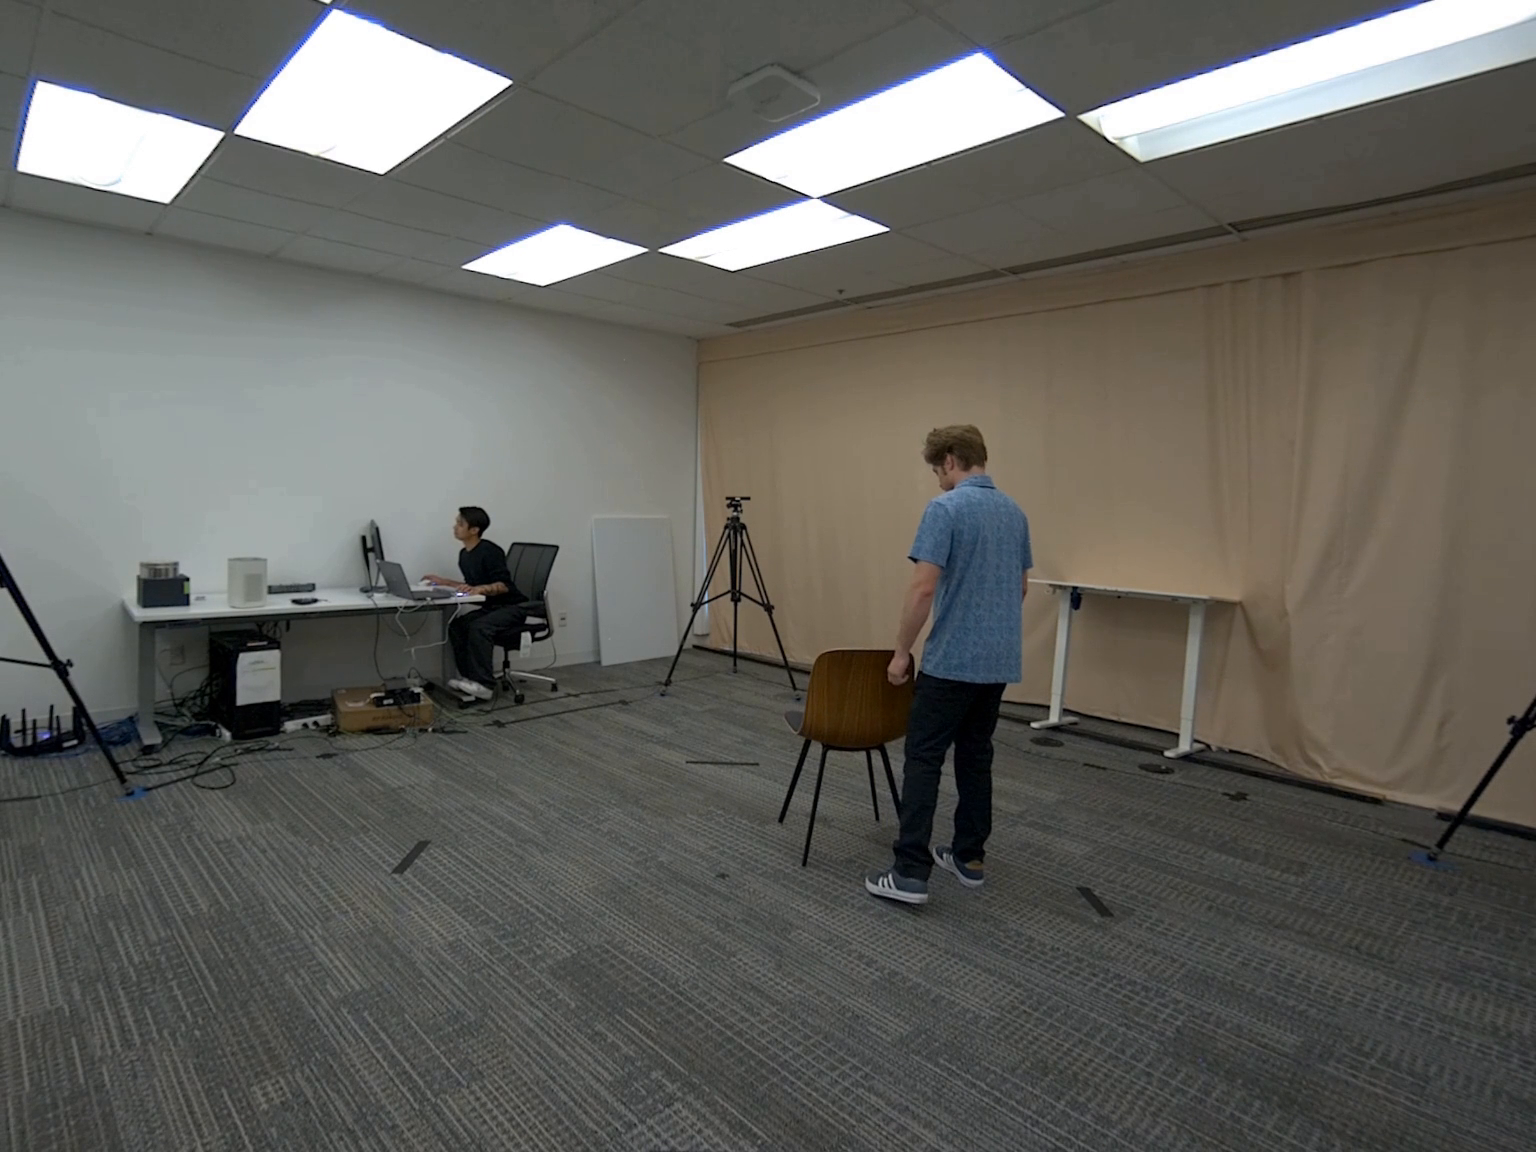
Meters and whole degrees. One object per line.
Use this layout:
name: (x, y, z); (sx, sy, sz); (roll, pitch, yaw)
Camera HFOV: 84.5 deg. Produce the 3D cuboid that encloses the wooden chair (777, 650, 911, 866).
wooden chair: (0.304, 0.659, 3.431); (0.474, 0.873, 0.530); (0, 8, -11)
